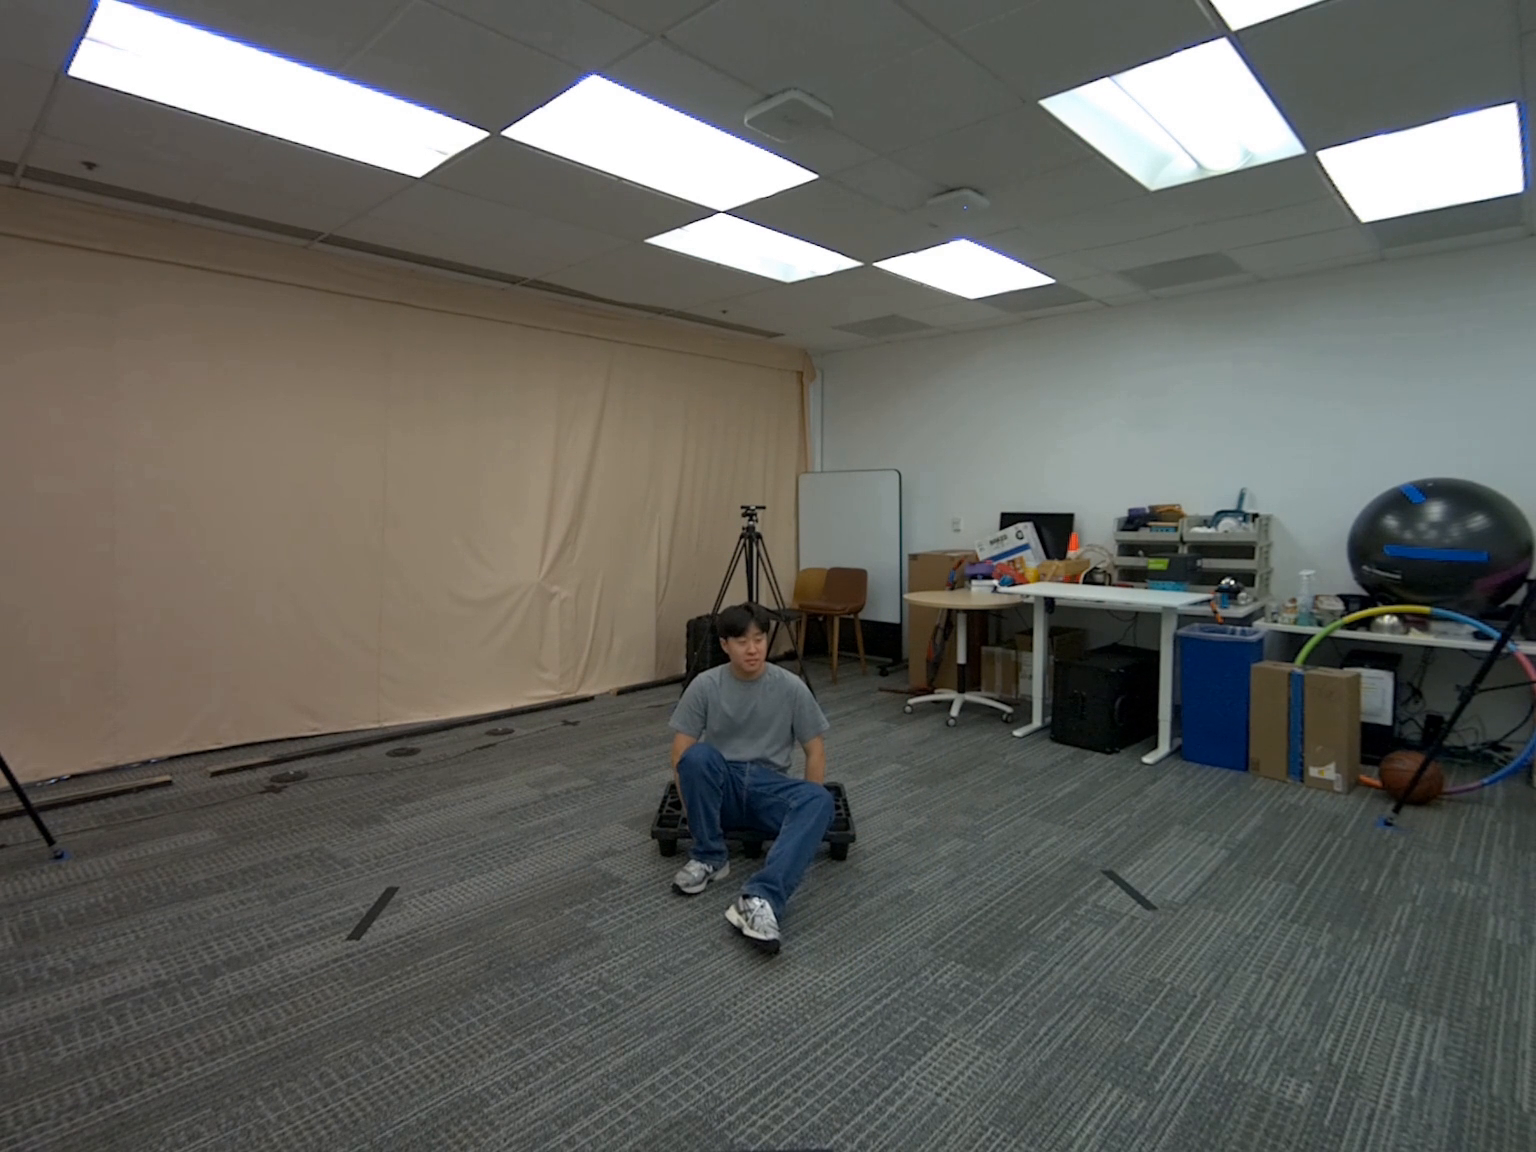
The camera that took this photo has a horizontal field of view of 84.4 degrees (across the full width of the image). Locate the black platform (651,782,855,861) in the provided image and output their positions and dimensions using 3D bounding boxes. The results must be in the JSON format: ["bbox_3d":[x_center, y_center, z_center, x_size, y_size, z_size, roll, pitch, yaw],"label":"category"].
[{"bbox_3d":[-0.053,1.027,3.547,0.809,0.143,0.605,0,5,3],"label":"black platform"}]
